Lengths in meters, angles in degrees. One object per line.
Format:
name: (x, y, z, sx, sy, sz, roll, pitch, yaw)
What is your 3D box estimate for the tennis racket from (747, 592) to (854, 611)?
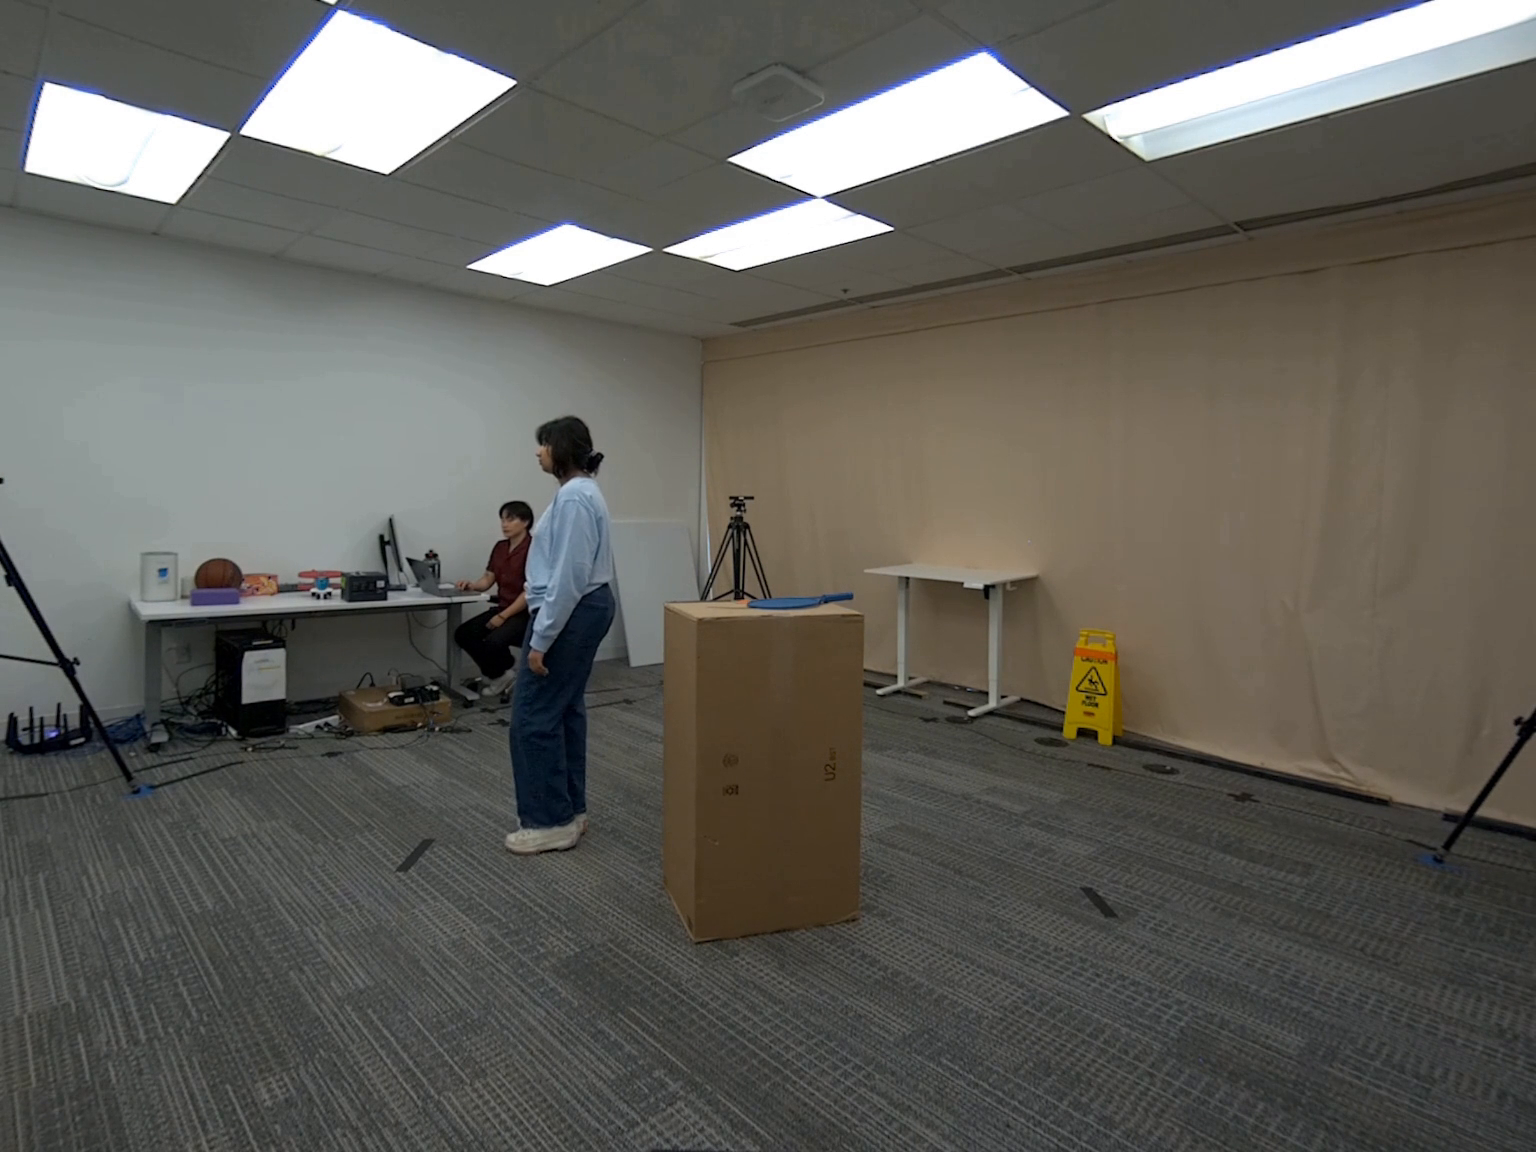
tennis racket: (0.110, 0.090, 2.946, 0.424, 0.031, 0.219, -6, 8, -36)
